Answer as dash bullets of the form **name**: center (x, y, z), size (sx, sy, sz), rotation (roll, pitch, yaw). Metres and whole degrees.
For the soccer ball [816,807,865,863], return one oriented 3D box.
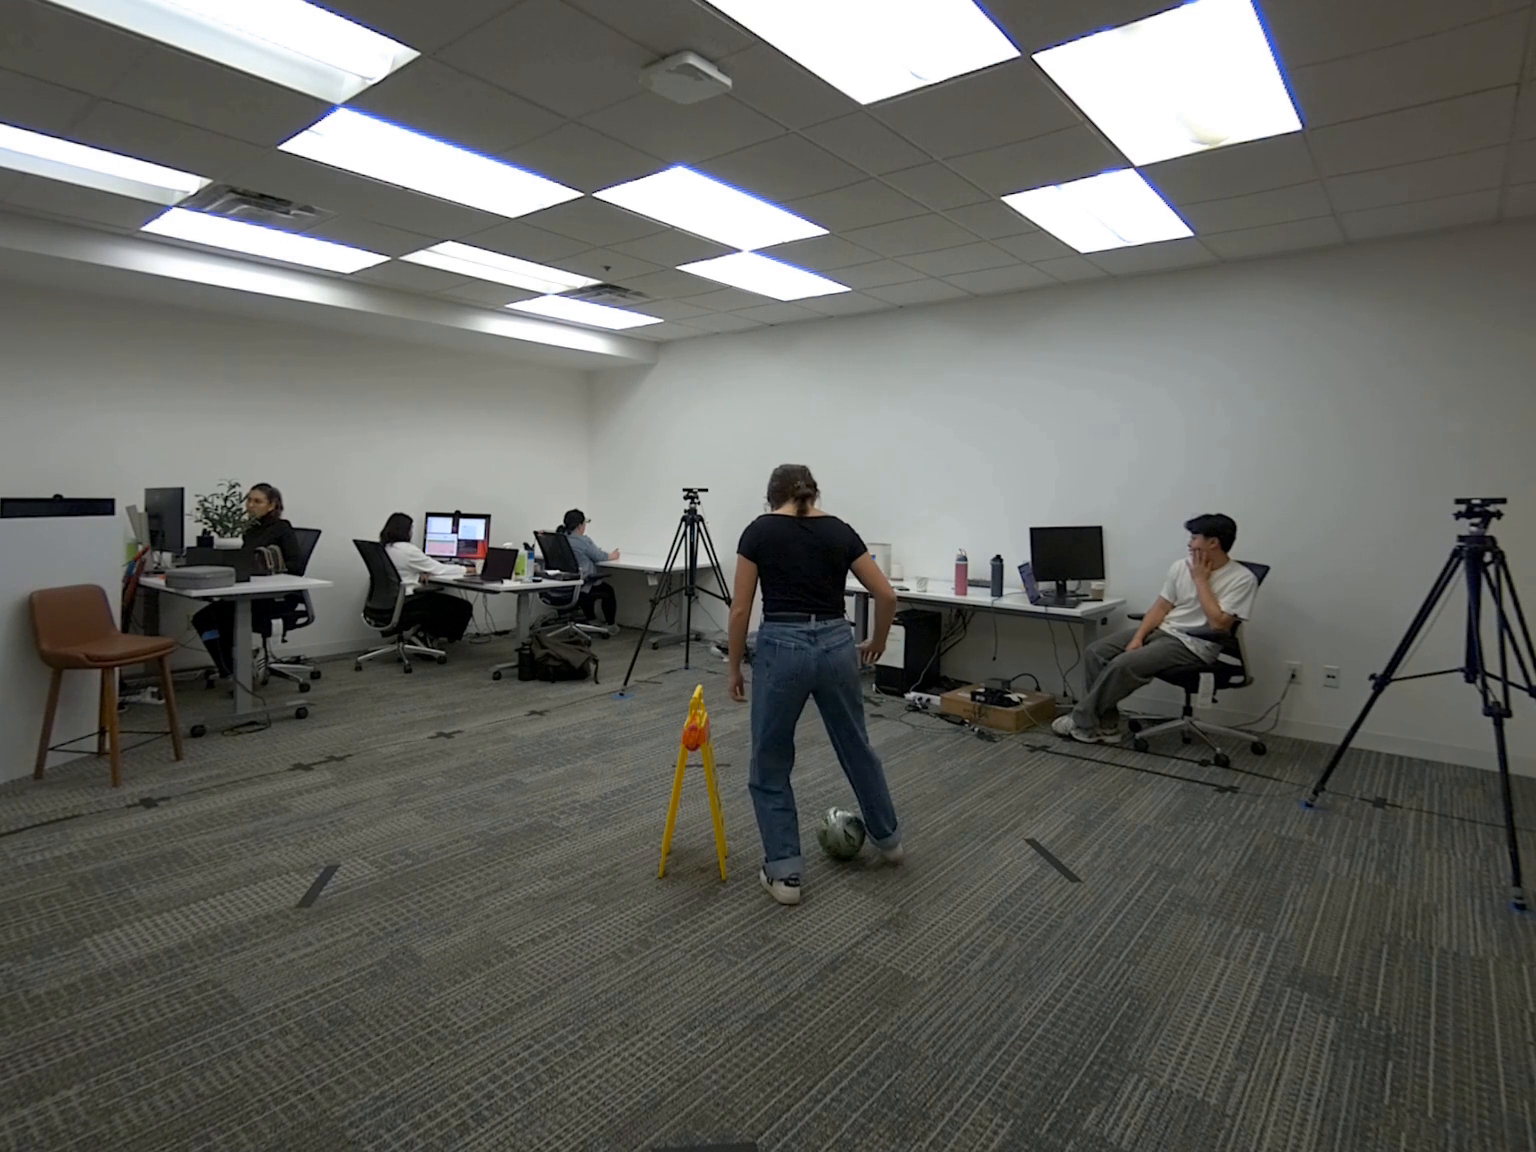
- **soccer ball**: center (0.266, 0.976, 3.243), size (0.187, 0.187, 0.188), rotation (1, 4, -2)
